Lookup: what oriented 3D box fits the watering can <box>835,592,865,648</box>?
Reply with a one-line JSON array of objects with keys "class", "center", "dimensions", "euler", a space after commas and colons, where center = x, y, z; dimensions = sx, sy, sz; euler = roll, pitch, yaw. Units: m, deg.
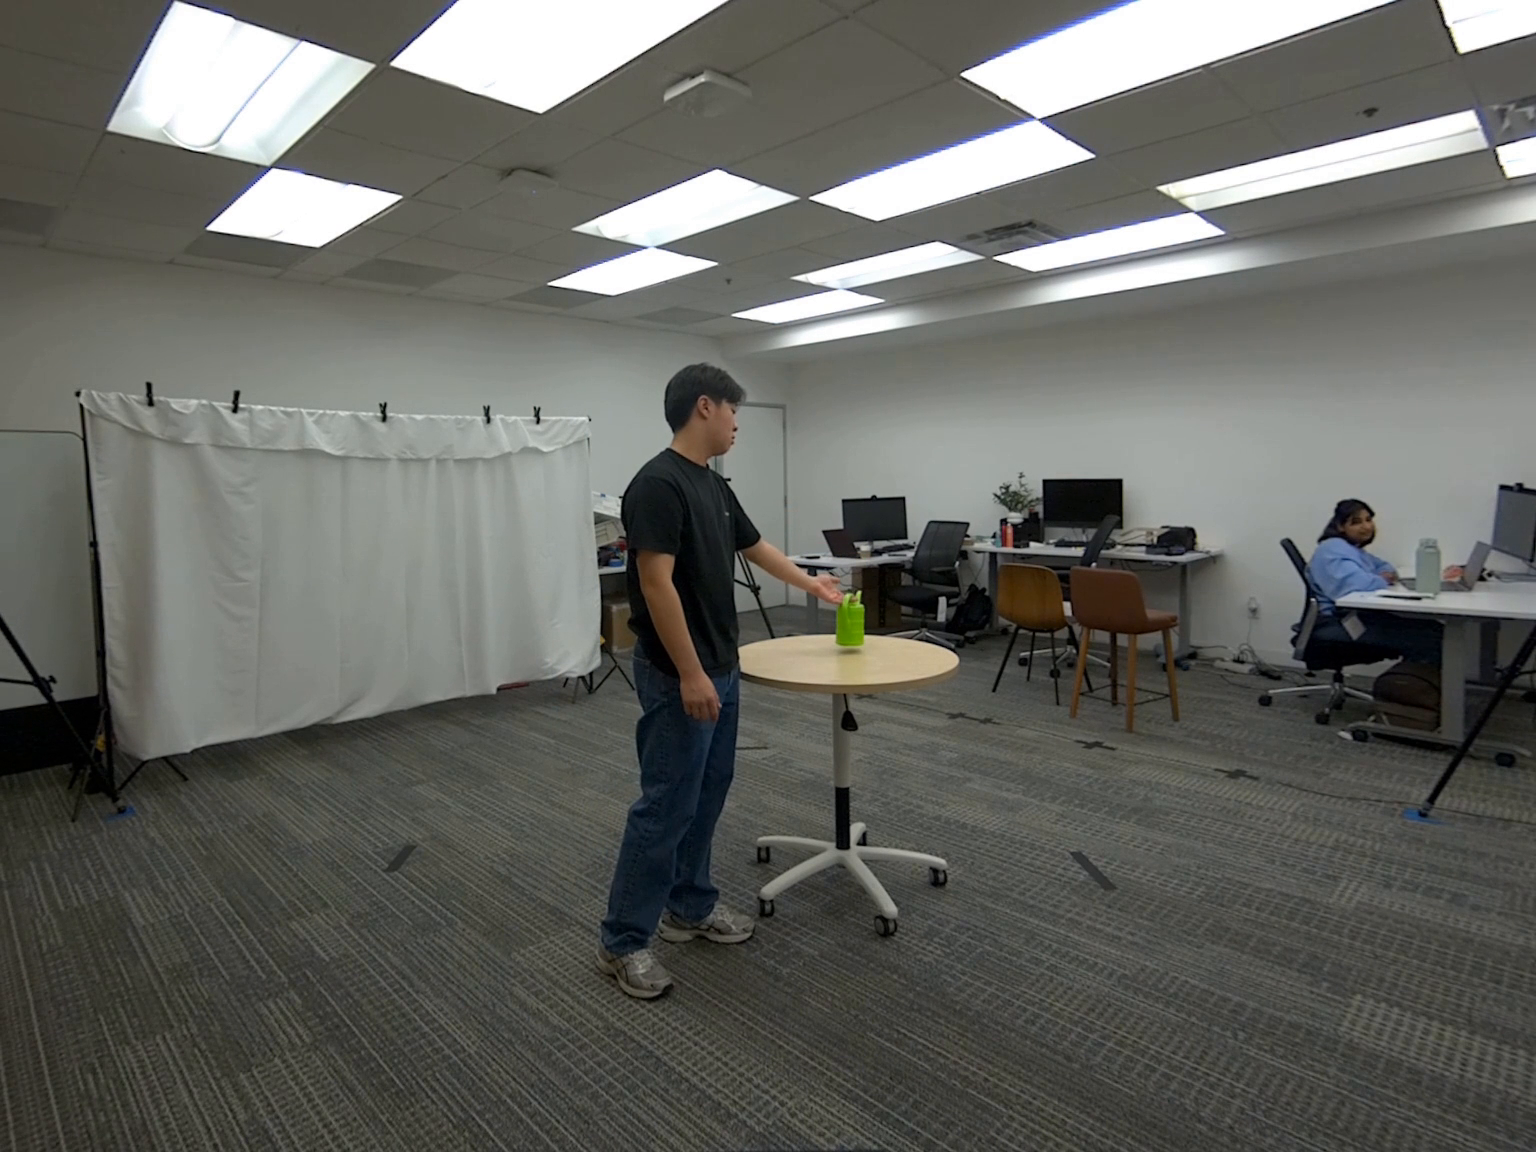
[{"class": "watering can", "center": [0.303, 0.148, 2.969], "dimensions": [0.100, 0.176, 0.272], "euler": [2, 3, 28]}]
